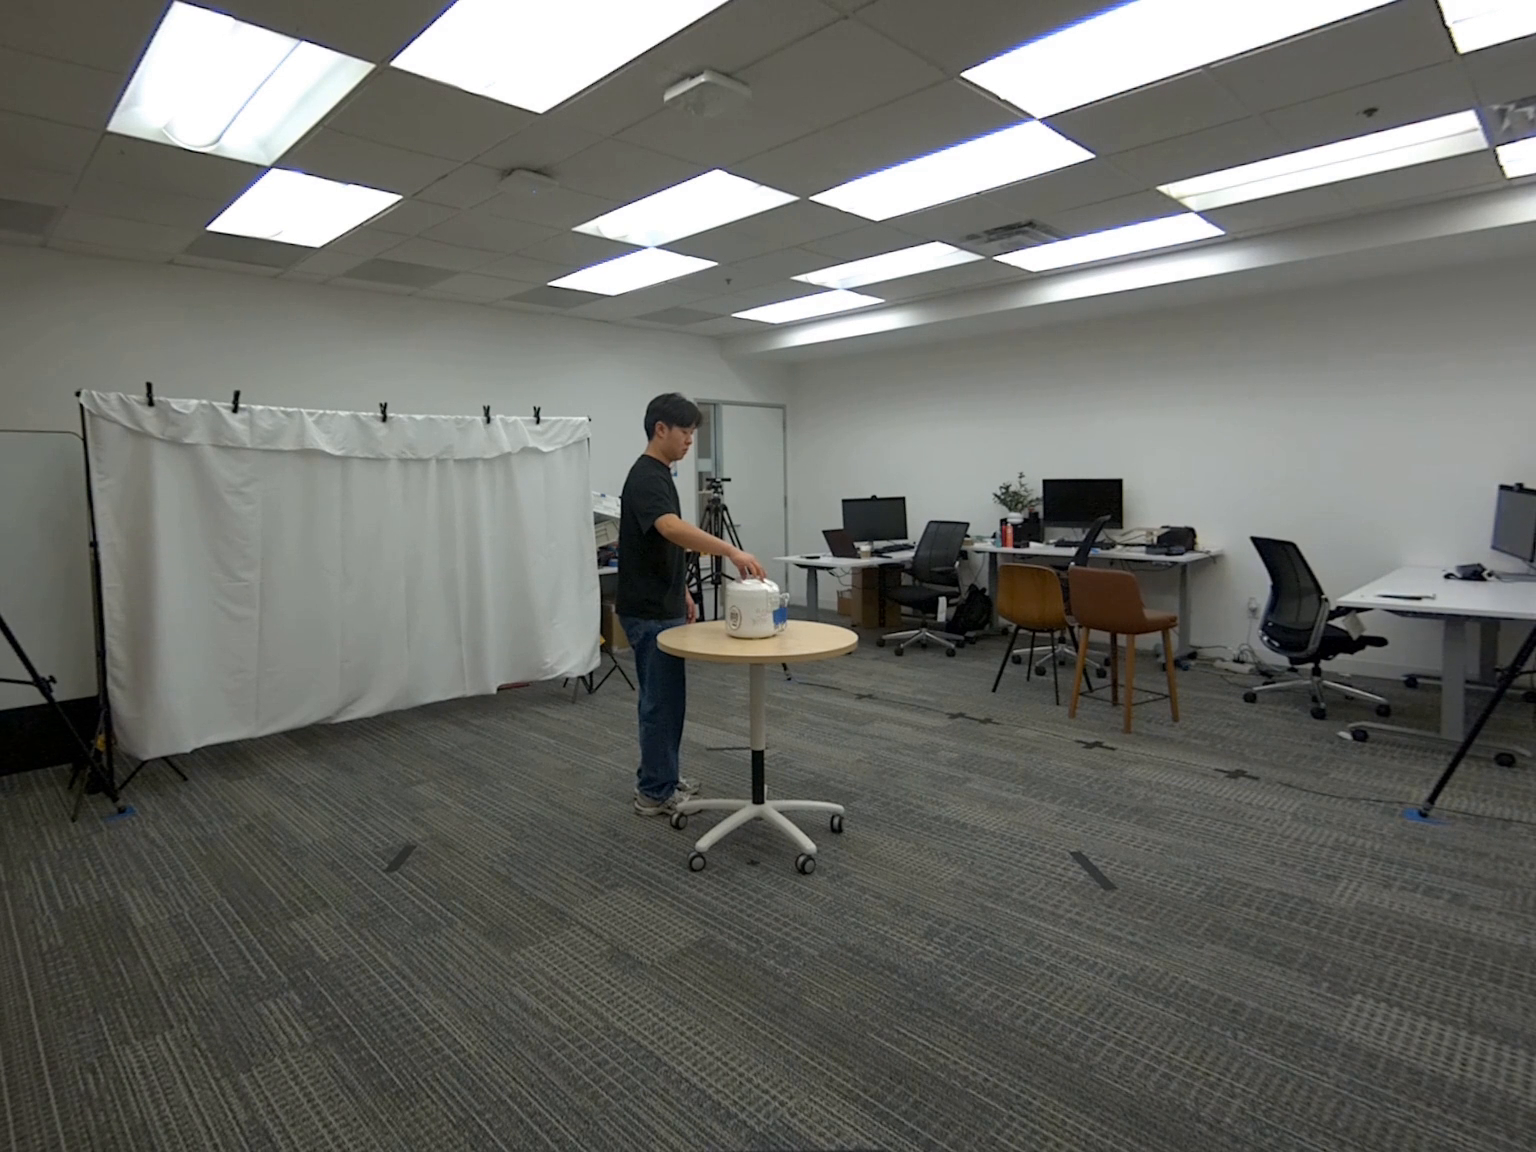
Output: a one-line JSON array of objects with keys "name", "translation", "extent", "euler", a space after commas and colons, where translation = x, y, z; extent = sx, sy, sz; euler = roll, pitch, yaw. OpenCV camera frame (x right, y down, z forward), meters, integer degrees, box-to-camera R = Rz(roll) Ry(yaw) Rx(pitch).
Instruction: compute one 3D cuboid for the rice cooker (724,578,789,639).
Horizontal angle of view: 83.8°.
[{"name": "rice cooker", "translation": [-0.055, 0.112, 3.266], "extent": [0.227, 0.232, 0.211], "euler": [3, 4, 39]}]
